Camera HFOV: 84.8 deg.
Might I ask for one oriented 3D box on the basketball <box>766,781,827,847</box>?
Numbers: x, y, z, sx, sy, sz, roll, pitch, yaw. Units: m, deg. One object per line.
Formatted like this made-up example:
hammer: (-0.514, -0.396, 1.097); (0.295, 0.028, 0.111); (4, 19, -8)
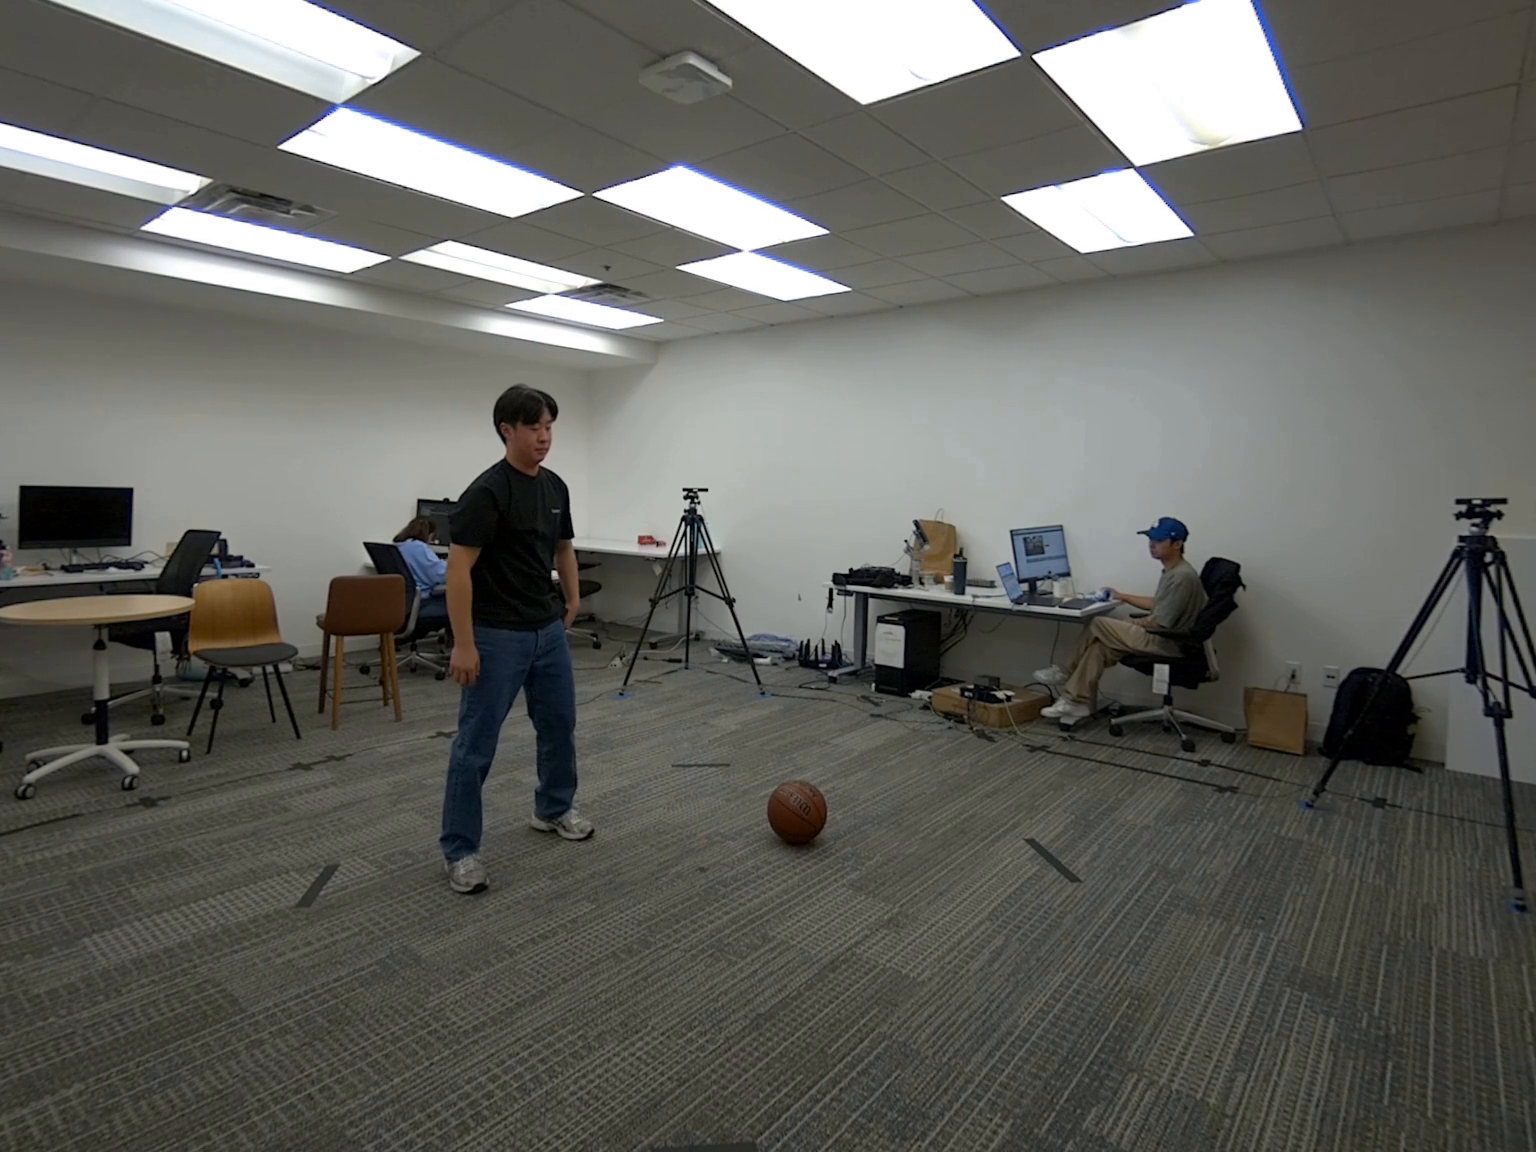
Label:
basketball: (0.112, 0.933, 3.372); (0.235, 0.235, 0.237); (1, 4, -2)
